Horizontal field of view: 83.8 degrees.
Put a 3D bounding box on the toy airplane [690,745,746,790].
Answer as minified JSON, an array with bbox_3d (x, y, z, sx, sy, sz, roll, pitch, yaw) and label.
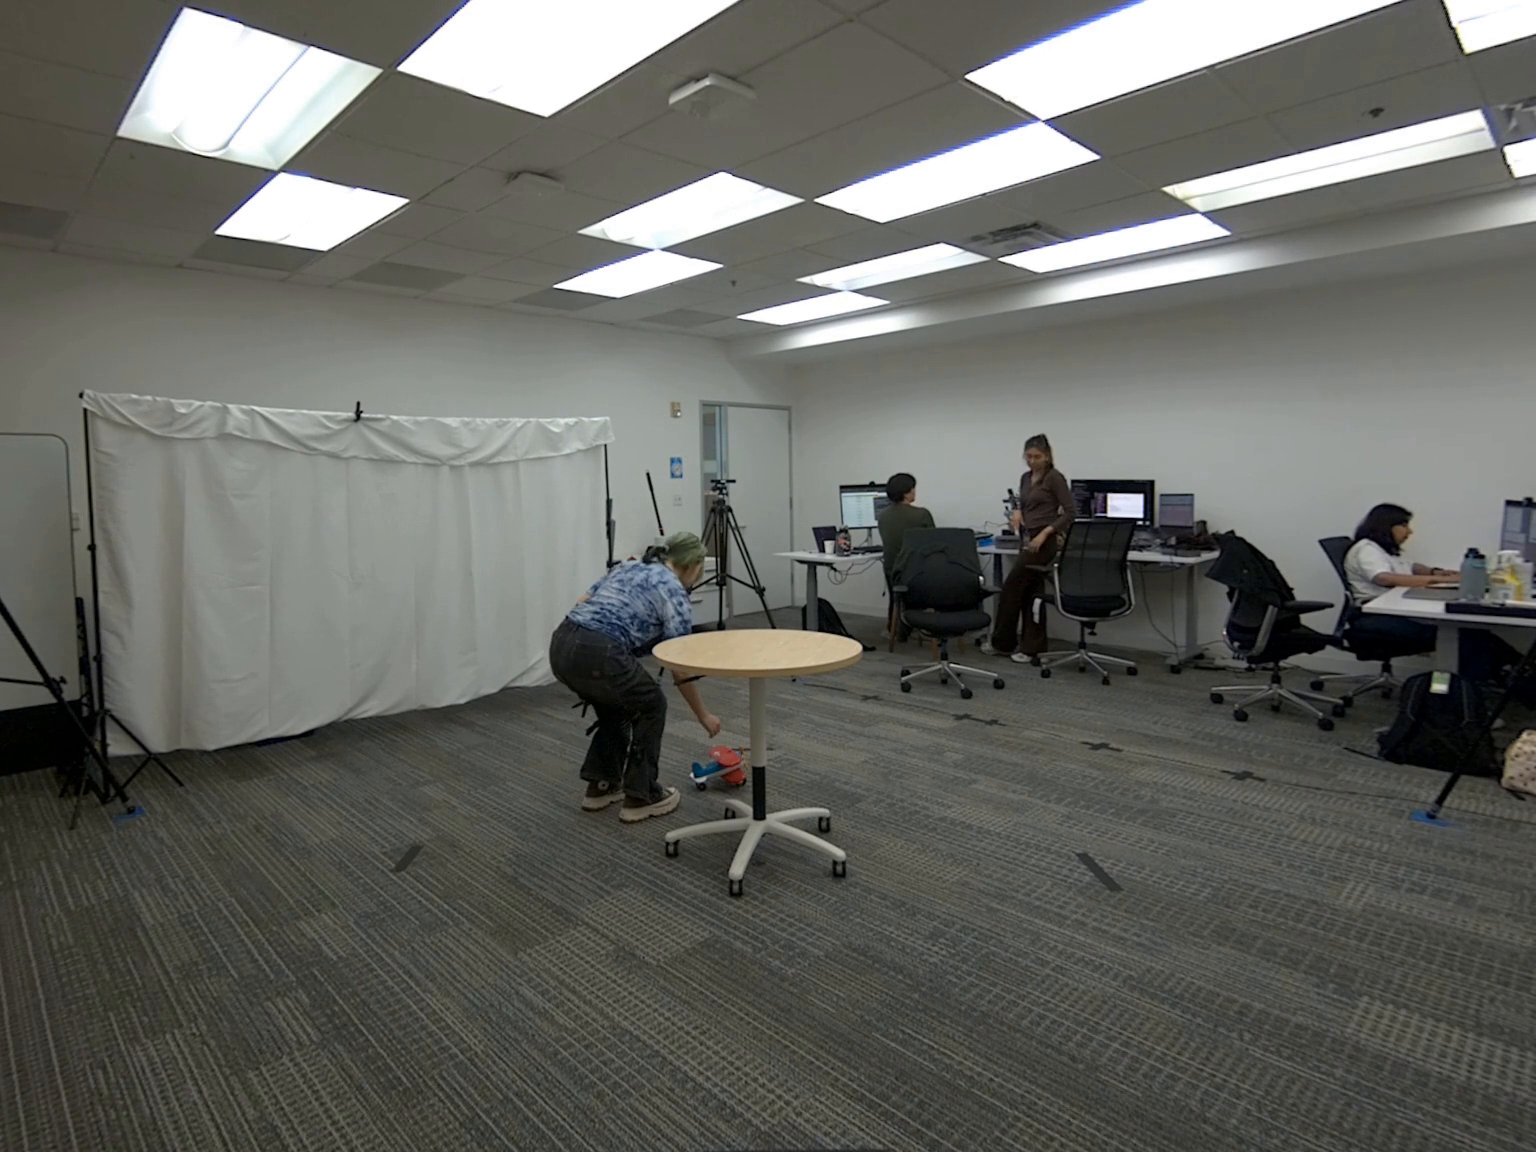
[{"bbox_3d":[-0.216,0.884,3.889,0.258,0.156,0.252,3,6,37],"label":"toy airplane"}]
